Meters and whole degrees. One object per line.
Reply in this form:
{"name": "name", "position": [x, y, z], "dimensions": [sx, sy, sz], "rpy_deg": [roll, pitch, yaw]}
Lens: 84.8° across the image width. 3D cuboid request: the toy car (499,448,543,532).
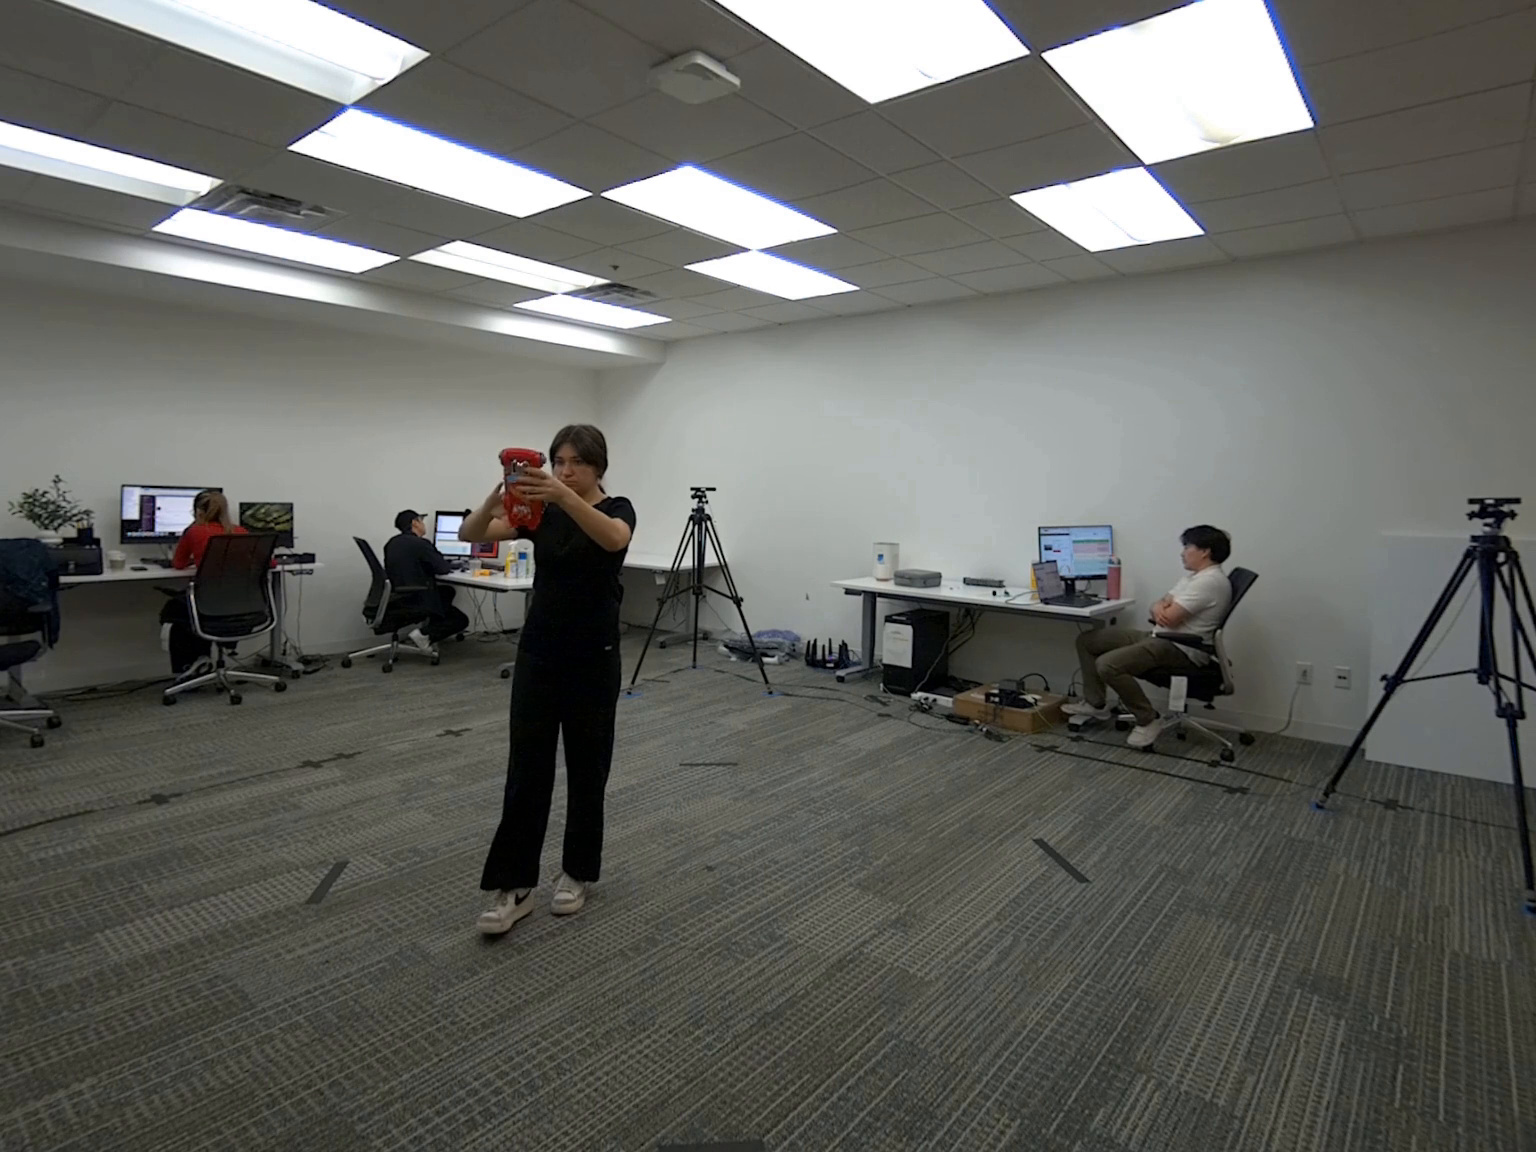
{"name": "toy car", "position": [-0.708, -0.250, 2.390], "dimensions": [0.130, 0.249, 0.085], "rpy_deg": [6, 26, -2]}
